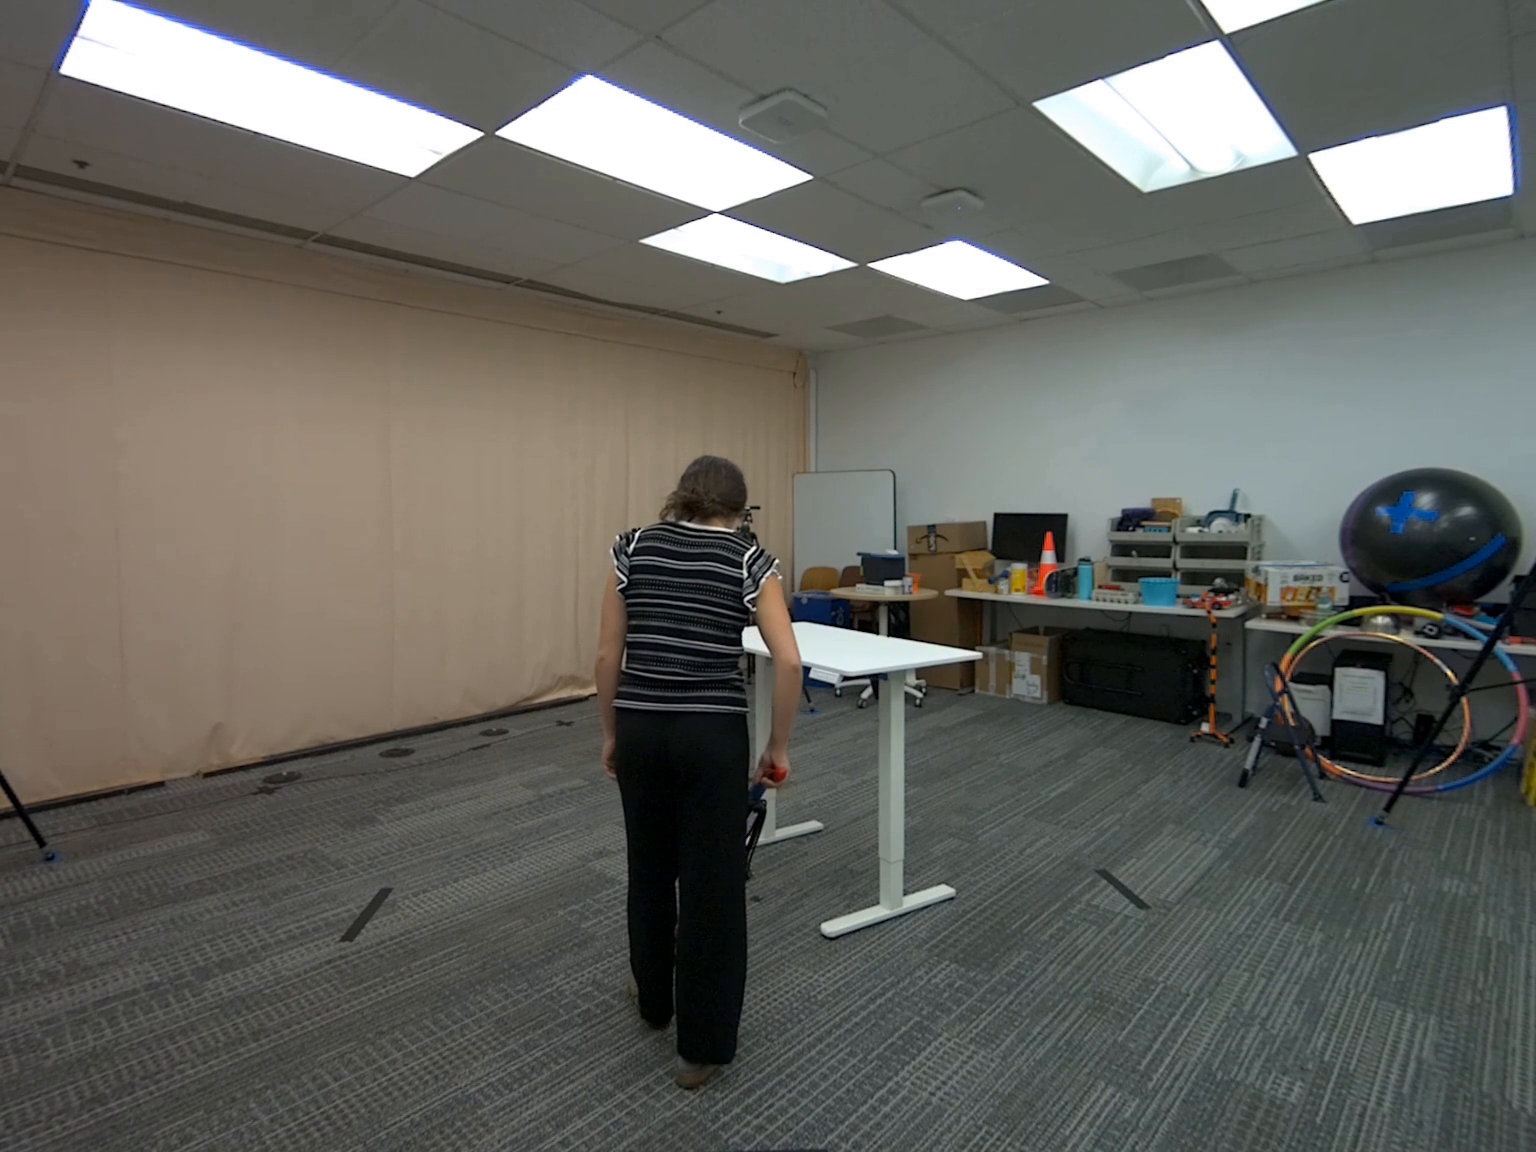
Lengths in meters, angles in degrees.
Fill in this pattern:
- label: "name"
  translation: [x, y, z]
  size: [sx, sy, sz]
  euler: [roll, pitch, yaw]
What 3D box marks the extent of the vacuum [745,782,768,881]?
- label: "vacuum"
  translation: [-0.138, 0.834, 2.391]
  size: [0.247, 0.147, 1.047]
  euler: [4, -38, -22]
